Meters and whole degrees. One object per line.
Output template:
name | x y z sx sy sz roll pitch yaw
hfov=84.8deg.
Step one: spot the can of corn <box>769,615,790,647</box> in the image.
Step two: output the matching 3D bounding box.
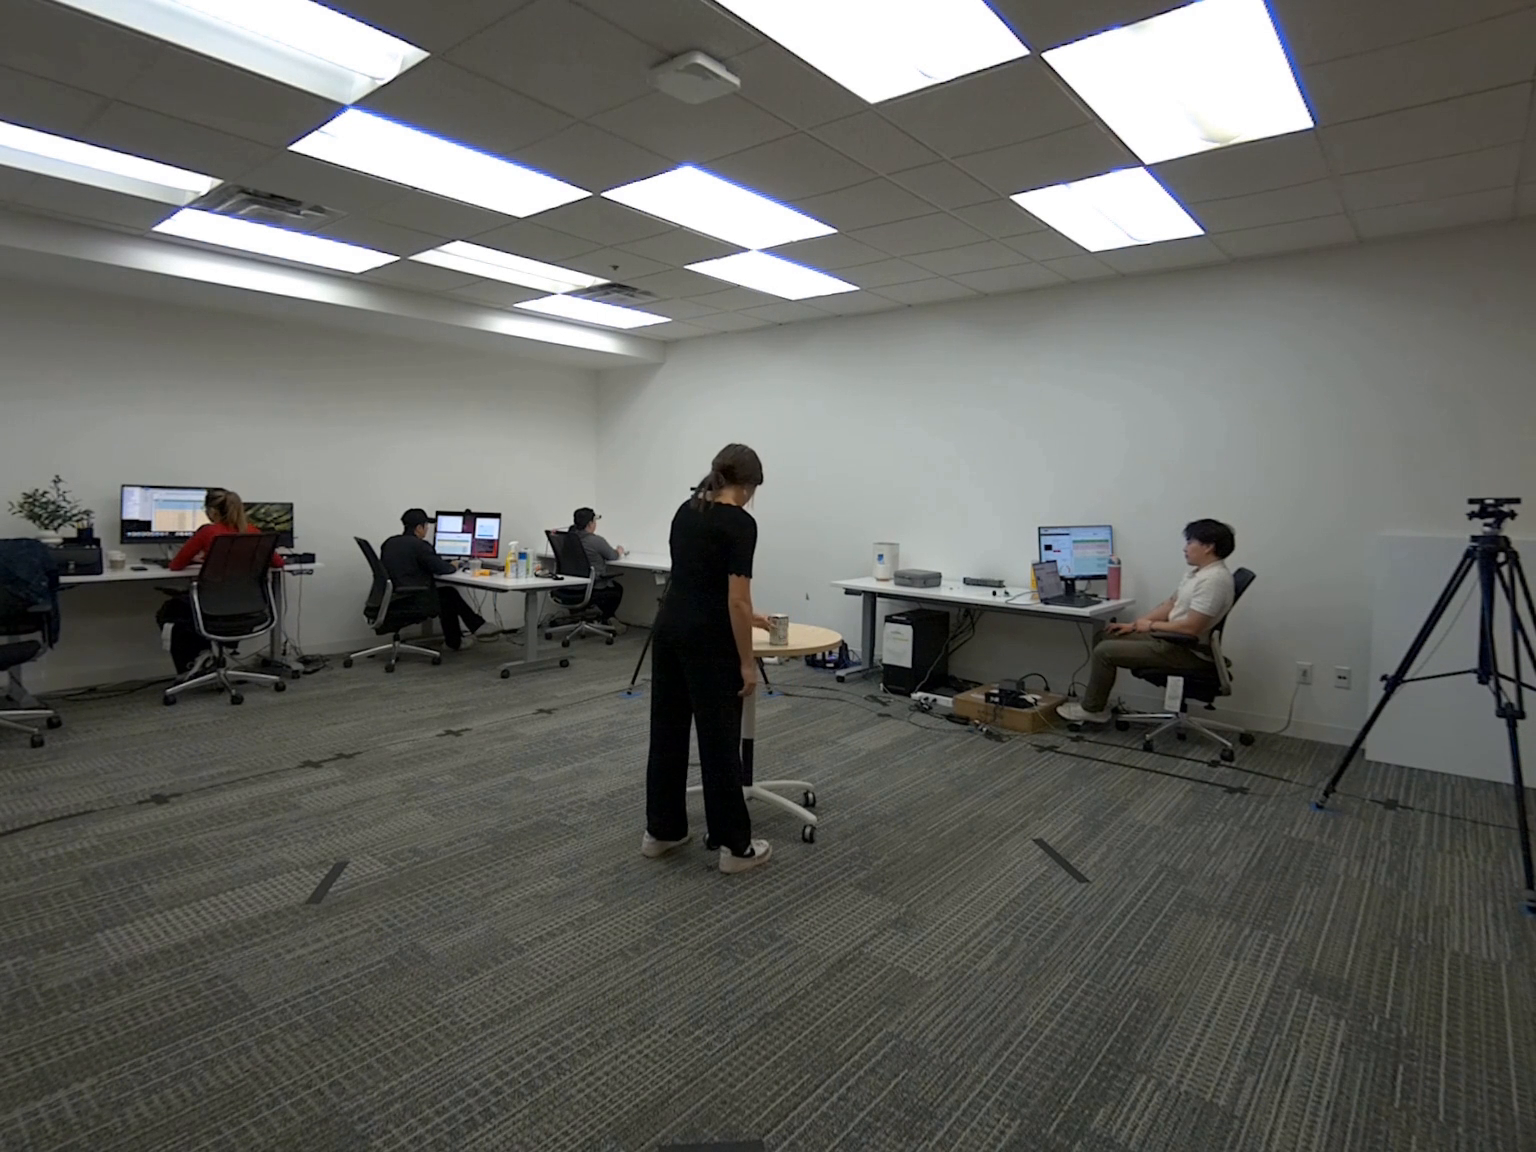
can of corn | 0.031 0.209 3.328 0.074 0.110 0.074 1 4 -2
